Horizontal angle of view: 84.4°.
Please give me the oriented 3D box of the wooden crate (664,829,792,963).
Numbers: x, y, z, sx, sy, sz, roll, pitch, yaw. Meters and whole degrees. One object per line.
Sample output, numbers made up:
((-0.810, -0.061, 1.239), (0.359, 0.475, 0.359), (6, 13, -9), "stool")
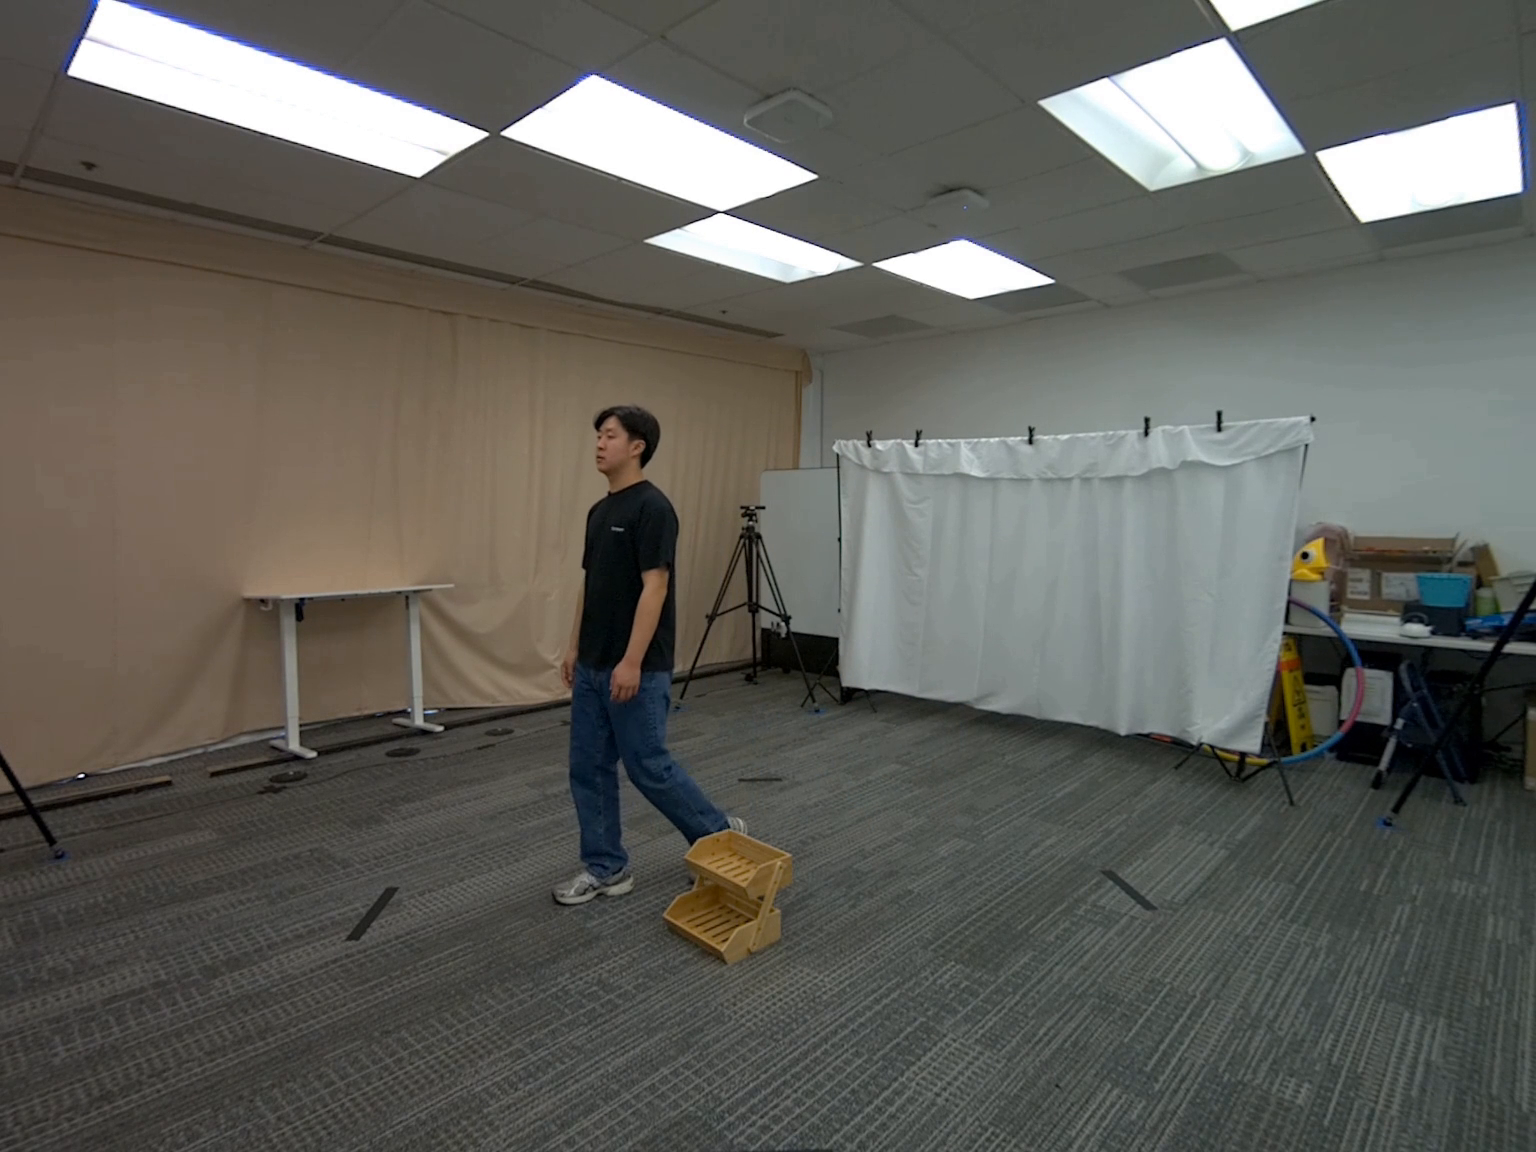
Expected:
((-0.132, 1.033, 2.745), (0.293, 0.273, 0.335), (-3, 4, -44), "wooden crate")
